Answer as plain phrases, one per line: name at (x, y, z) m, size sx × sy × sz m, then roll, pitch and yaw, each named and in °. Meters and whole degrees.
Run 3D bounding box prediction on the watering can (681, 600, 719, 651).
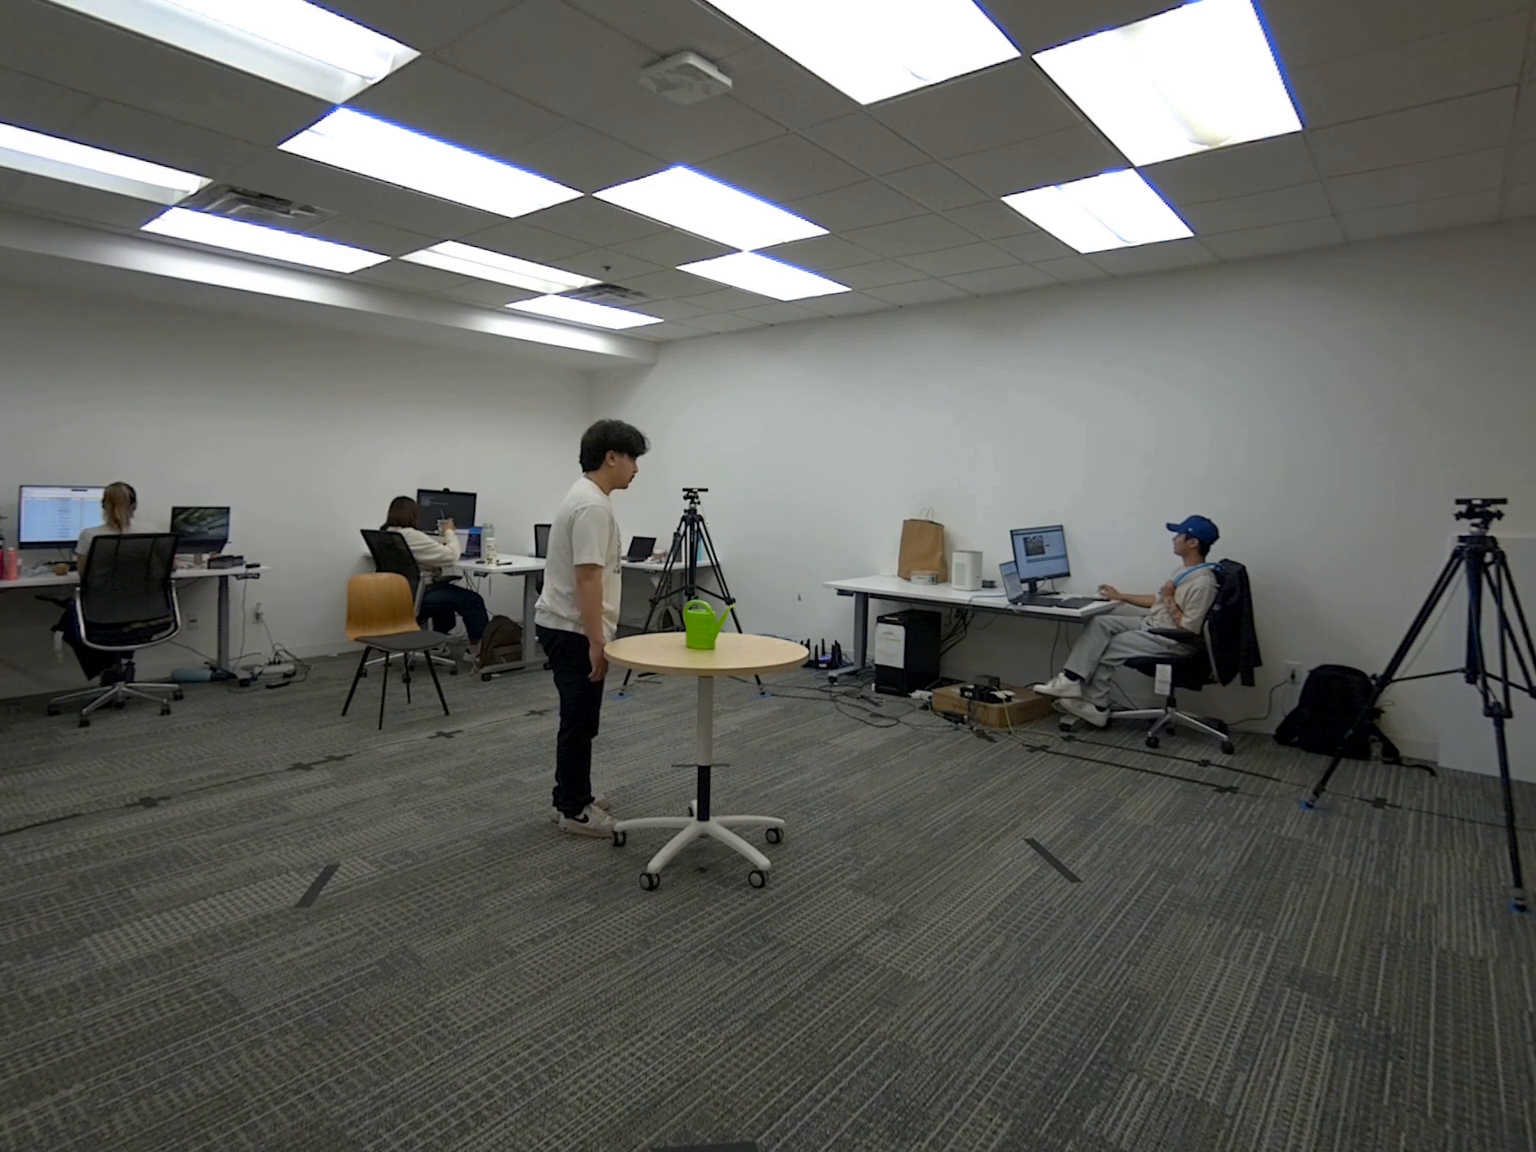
watering can at (-0.246, 0.181, 3.185) m, size 0.095 × 0.176 × 0.287 m, roll -2°, pitch 4°, yaw -34°
